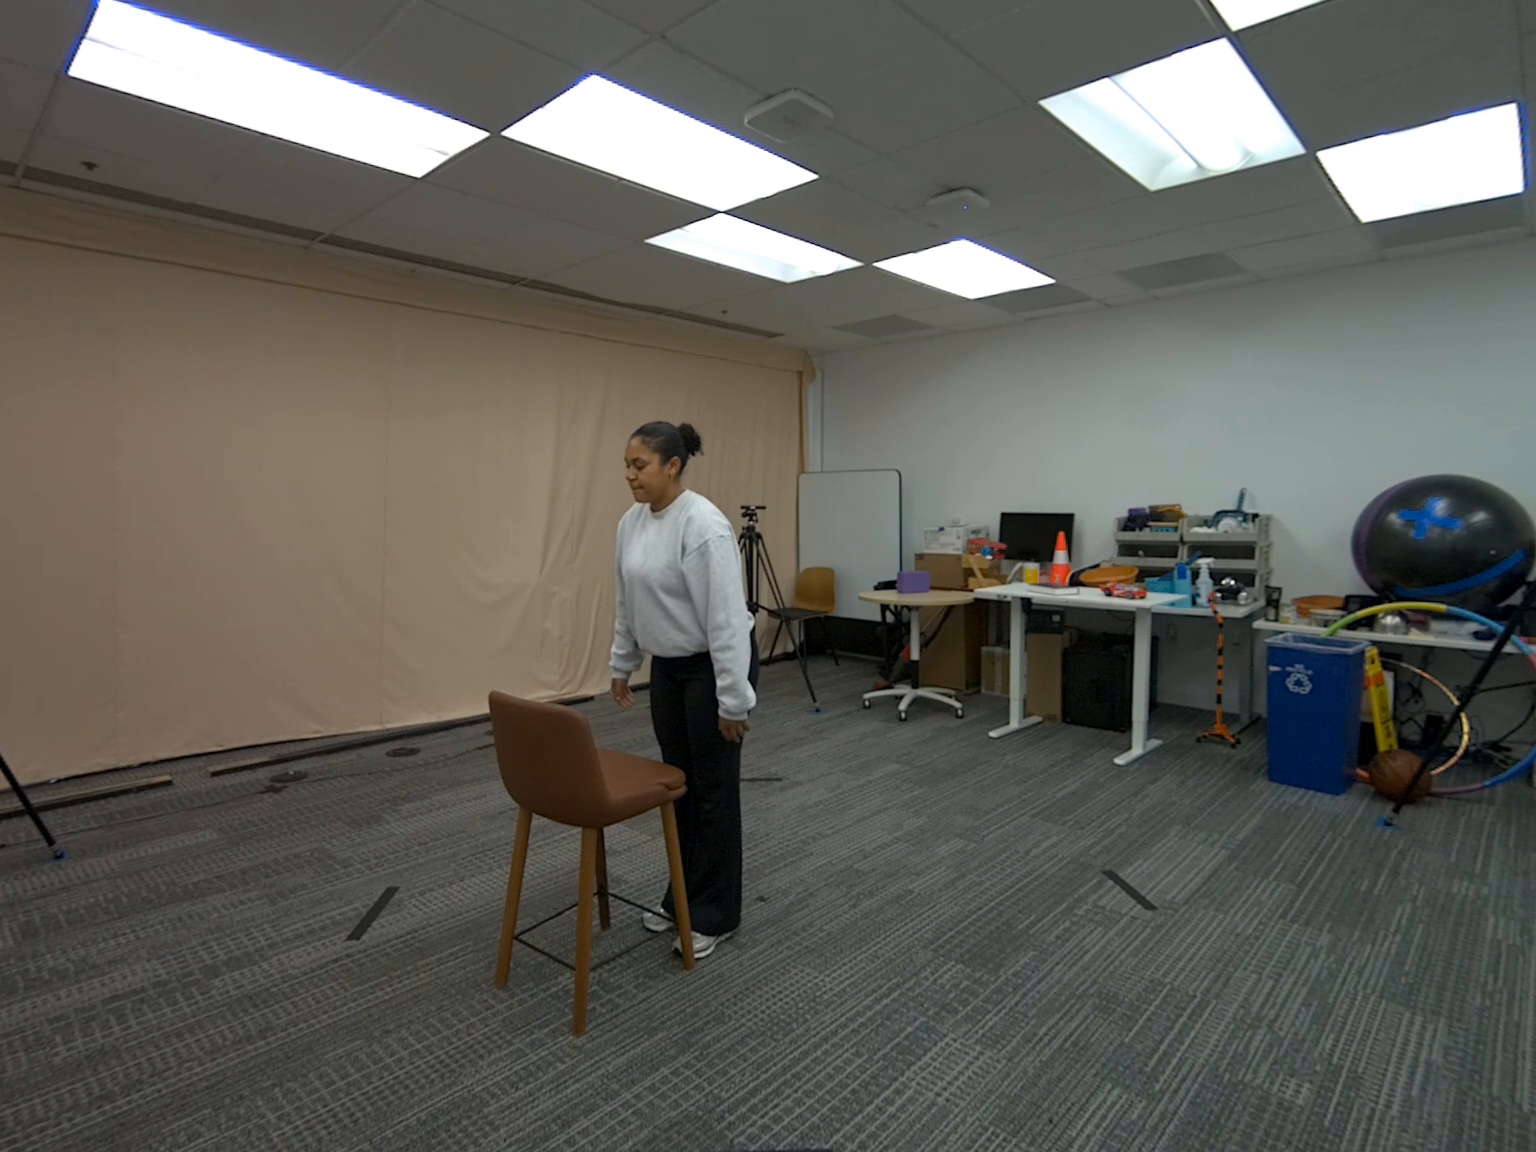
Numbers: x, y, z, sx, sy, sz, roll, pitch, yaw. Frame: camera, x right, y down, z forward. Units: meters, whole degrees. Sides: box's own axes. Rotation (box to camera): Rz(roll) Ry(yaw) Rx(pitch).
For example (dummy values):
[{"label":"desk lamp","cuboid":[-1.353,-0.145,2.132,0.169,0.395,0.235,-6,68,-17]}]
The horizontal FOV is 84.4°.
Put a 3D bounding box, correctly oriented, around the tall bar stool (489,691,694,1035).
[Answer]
[{"label":"tall bar stool","cuboid":[-0.523,0.751,2.468,0.471,0.887,0.454,2,6,38]}]
